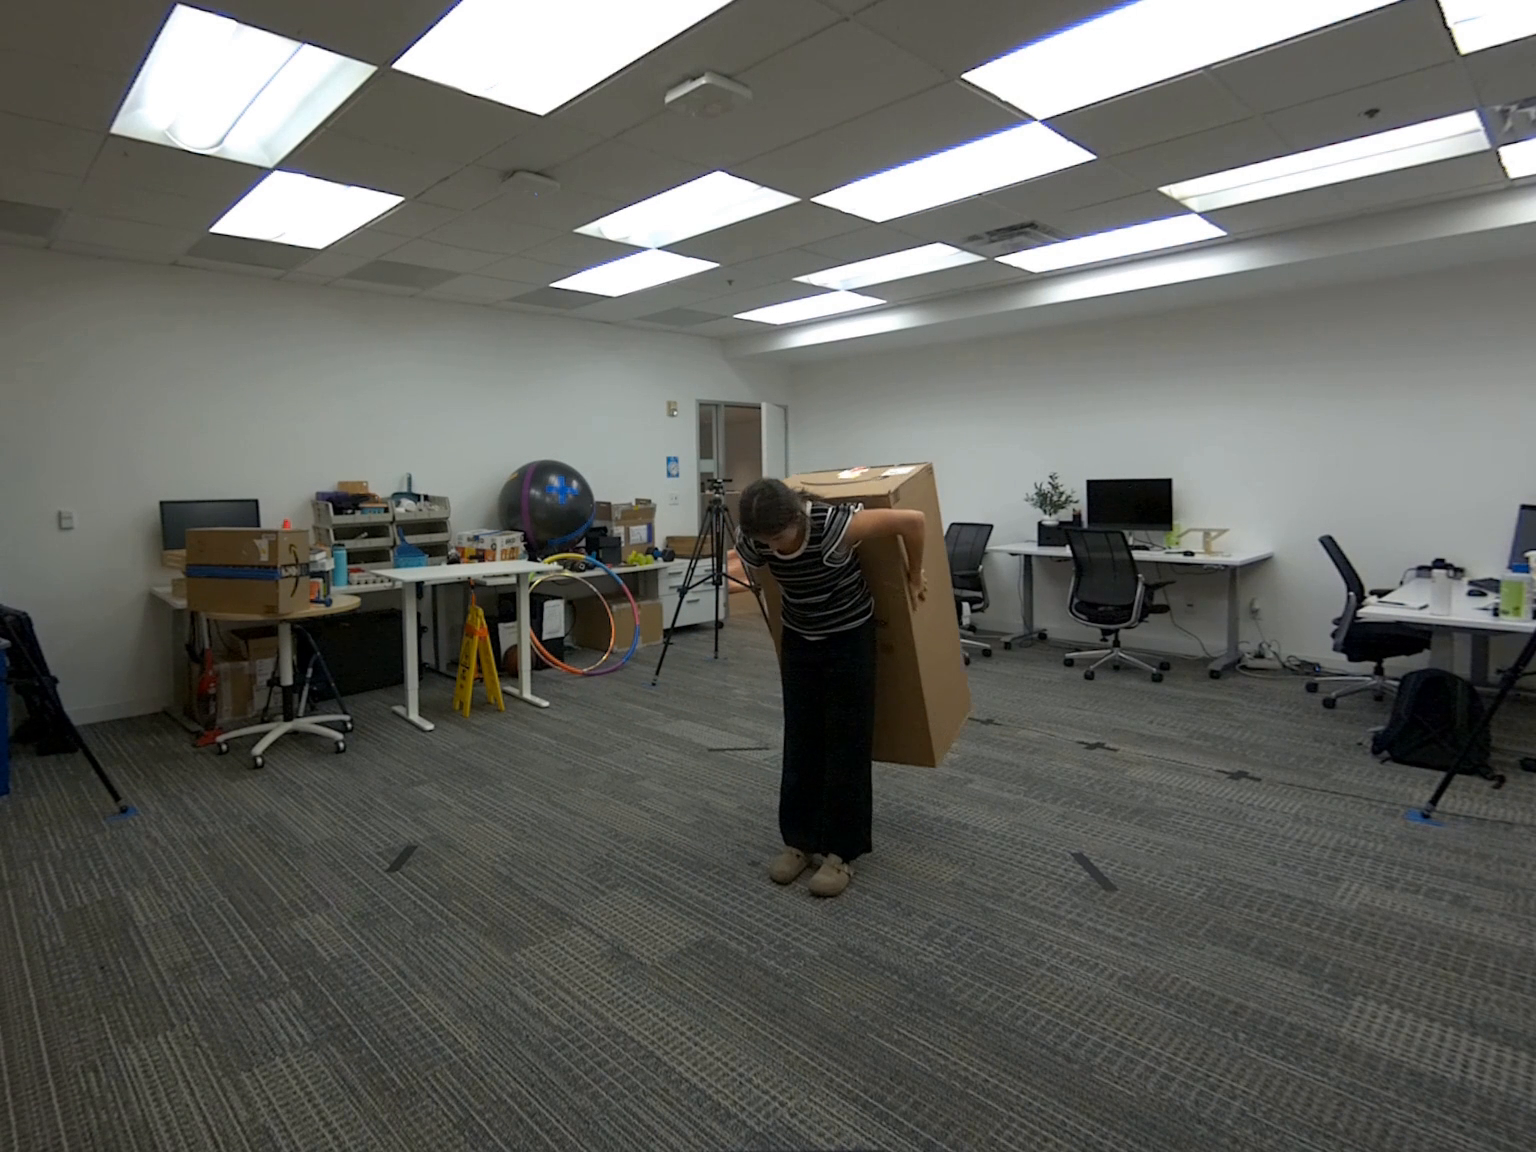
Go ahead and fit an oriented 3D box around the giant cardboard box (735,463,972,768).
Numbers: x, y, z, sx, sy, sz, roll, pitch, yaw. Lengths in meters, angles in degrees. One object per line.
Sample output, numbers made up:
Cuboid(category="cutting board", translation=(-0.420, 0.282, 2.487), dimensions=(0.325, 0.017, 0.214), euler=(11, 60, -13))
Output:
Cuboid(category="giant cardboard box", translation=(0.362, 0.133, 3.246), dimensions=(0.592, 1.010, 0.422), euler=(-2, 17, 33))
